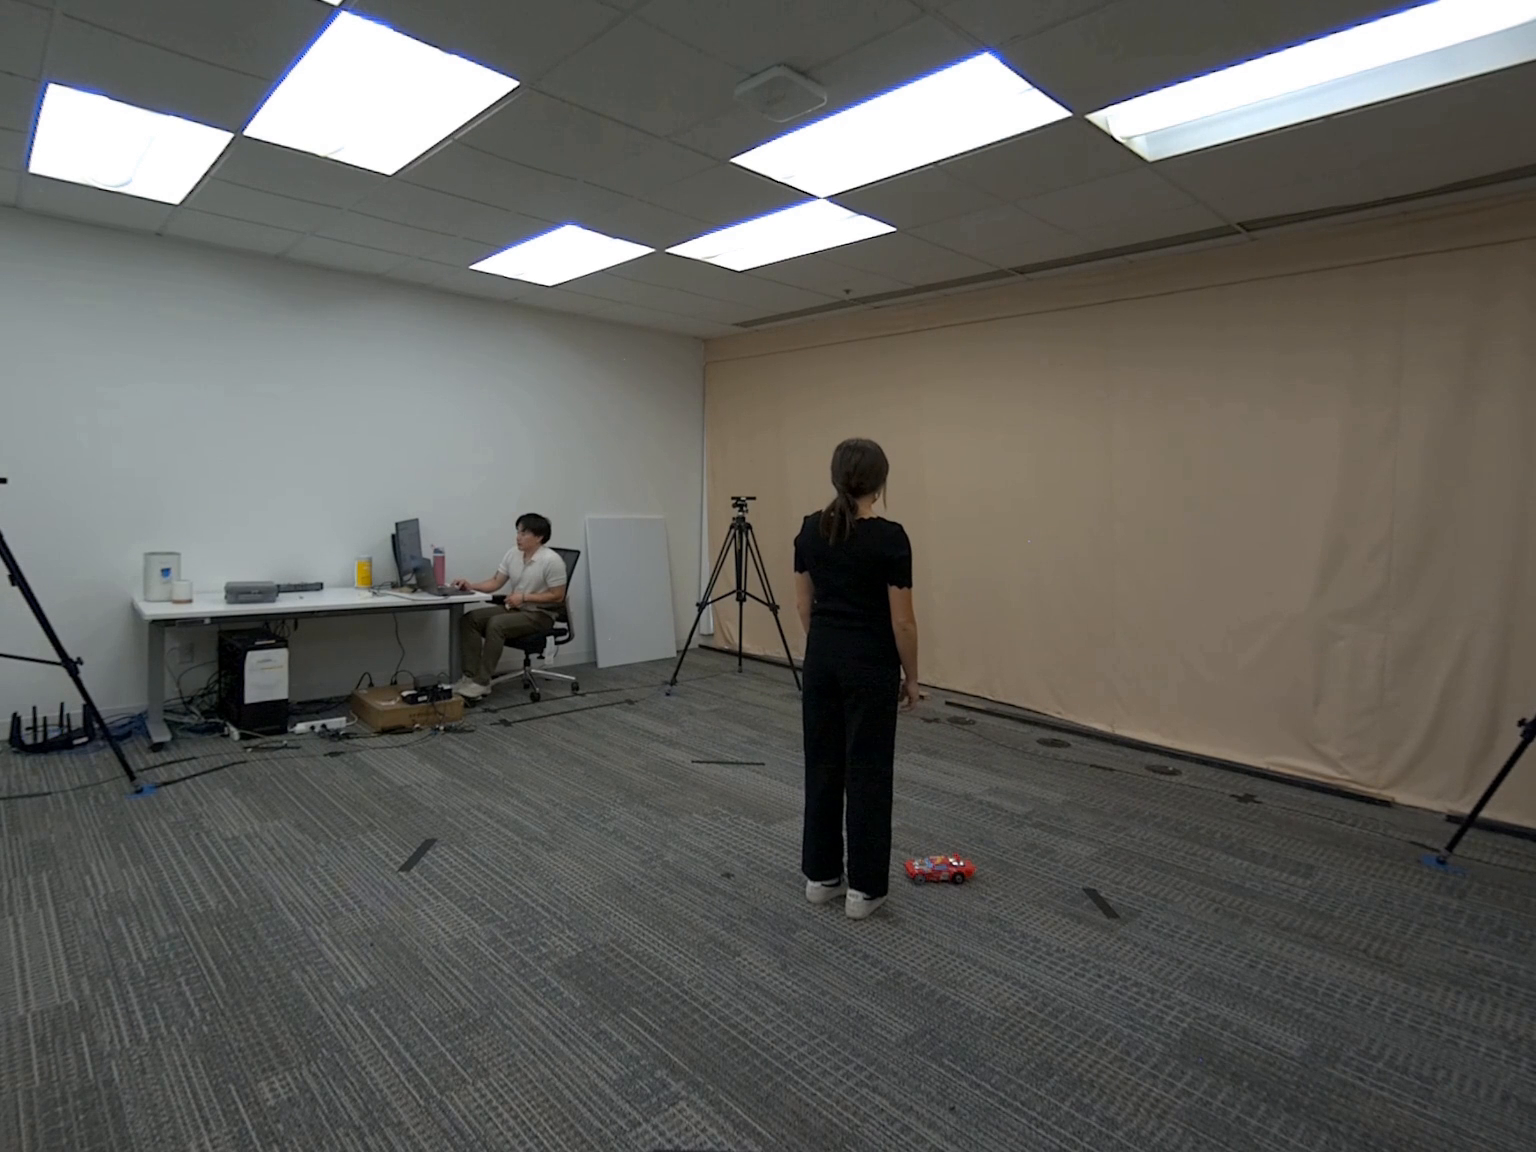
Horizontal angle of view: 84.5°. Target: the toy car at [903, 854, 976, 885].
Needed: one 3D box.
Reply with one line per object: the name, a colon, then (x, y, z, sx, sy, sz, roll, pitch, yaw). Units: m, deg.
toy car: (0.637, 1.092, 3.128, 0.254, 0.083, 0.131, -10, 6, -4)
